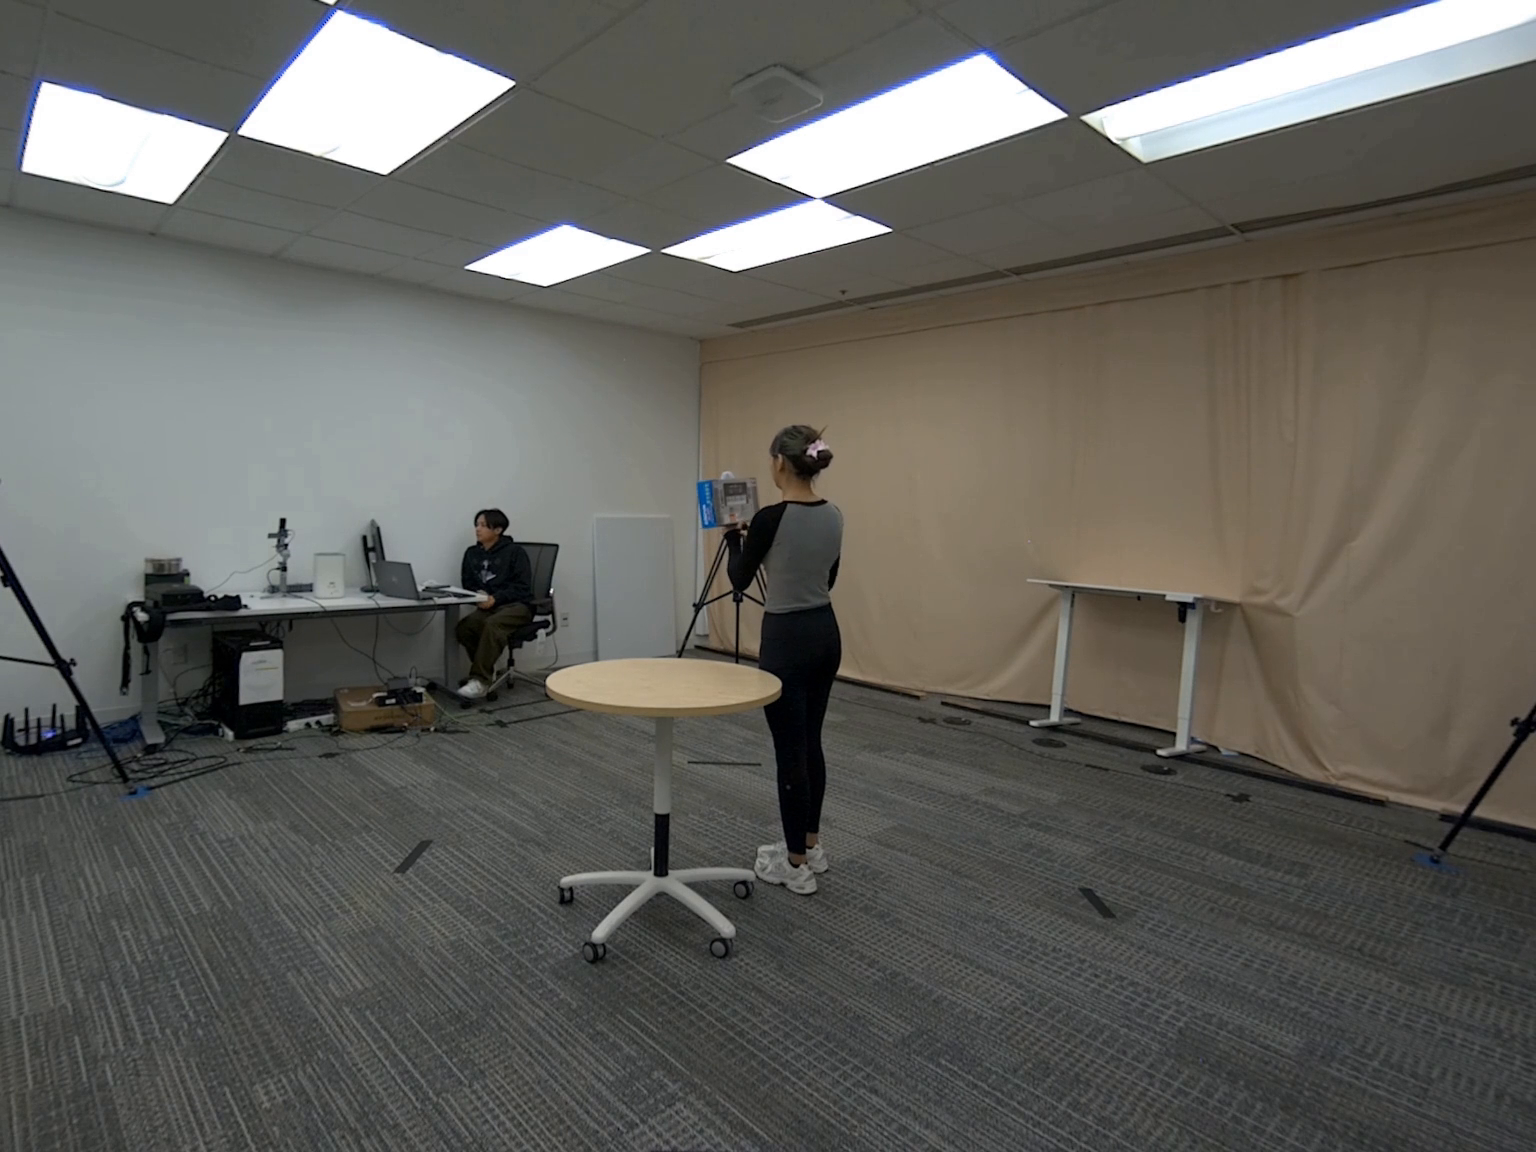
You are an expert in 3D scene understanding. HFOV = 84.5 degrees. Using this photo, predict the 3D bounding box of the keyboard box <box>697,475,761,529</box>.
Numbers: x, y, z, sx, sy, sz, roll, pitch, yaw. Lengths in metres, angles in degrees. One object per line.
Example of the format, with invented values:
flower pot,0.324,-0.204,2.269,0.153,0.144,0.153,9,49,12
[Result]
keyboard box,-0.151,-0.287,3.258,0.060,0.175,0.431,-5,6,22
